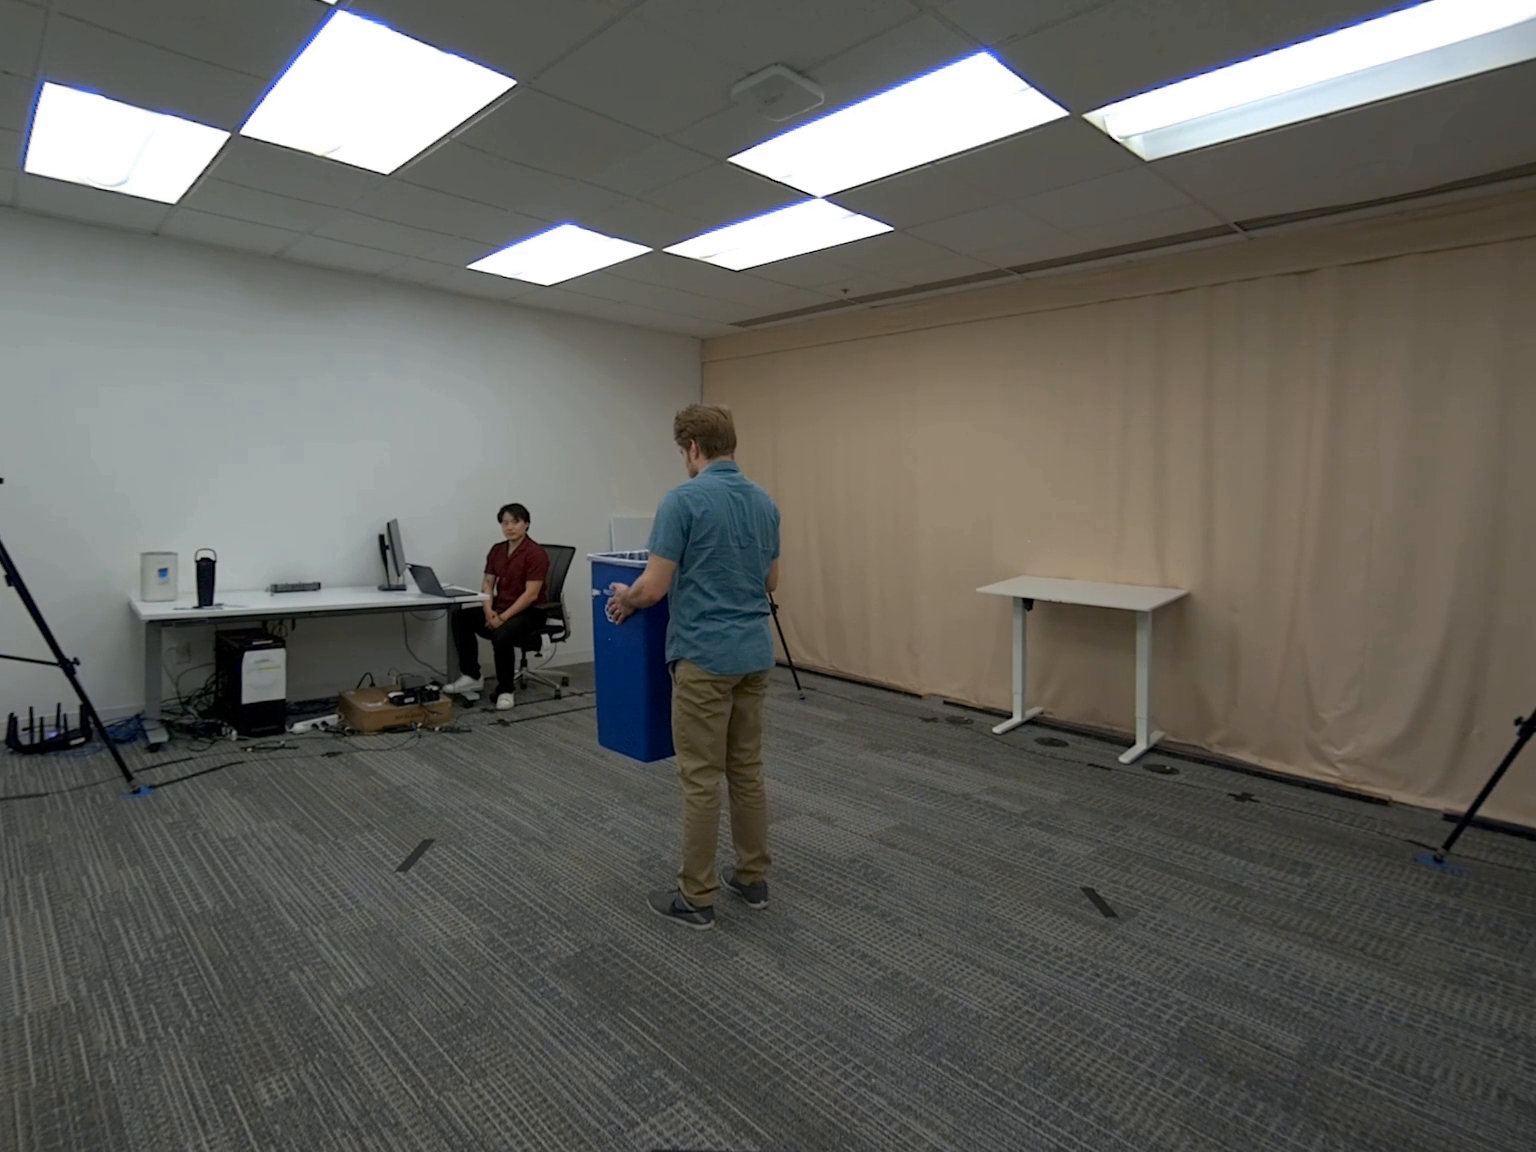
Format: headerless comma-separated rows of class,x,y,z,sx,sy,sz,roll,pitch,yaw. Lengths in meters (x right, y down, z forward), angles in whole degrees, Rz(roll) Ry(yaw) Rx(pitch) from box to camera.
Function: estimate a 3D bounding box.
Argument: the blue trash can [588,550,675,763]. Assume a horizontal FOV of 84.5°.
blue trash can,-0.437,0.287,3.124,0.366,0.711,0.387,-6,7,-44
